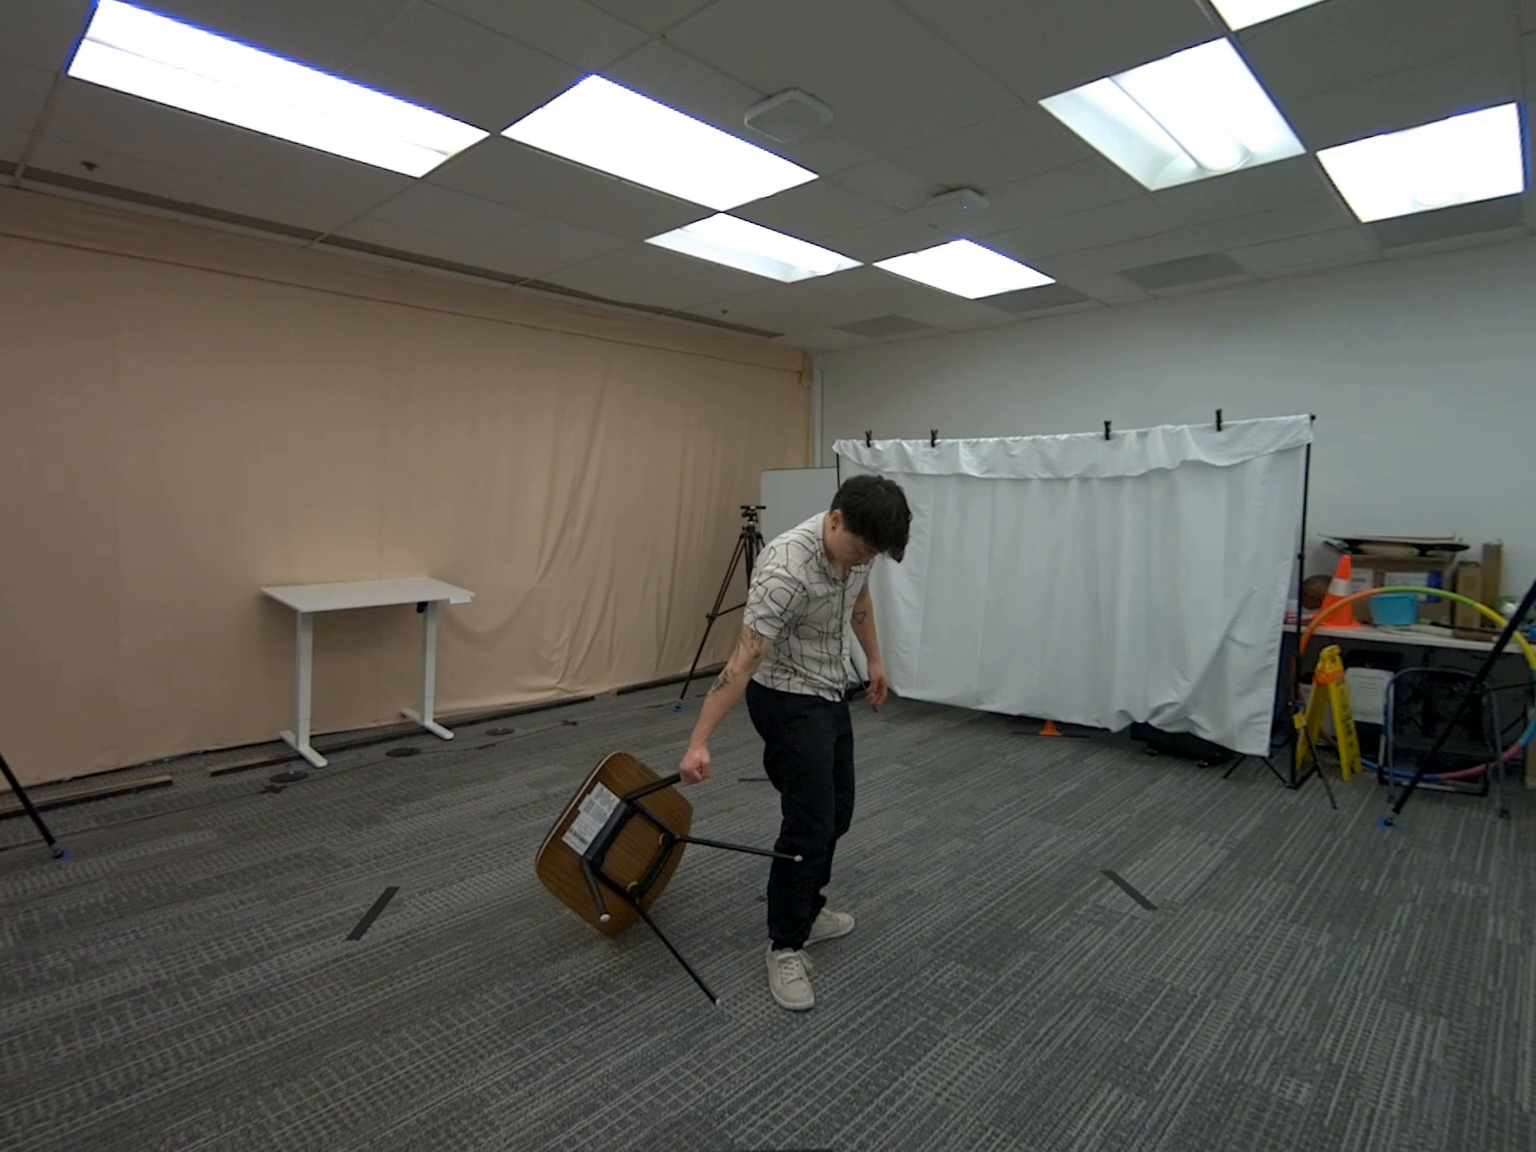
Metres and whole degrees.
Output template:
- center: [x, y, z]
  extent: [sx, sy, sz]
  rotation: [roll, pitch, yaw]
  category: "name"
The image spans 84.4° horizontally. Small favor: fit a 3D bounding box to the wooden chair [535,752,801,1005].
- center: [-0.418, 0.852, 2.595]
  extent: [0.512, 0.477, 0.899]
  rotation: [45, -27, -20]
  category: "wooden chair"
